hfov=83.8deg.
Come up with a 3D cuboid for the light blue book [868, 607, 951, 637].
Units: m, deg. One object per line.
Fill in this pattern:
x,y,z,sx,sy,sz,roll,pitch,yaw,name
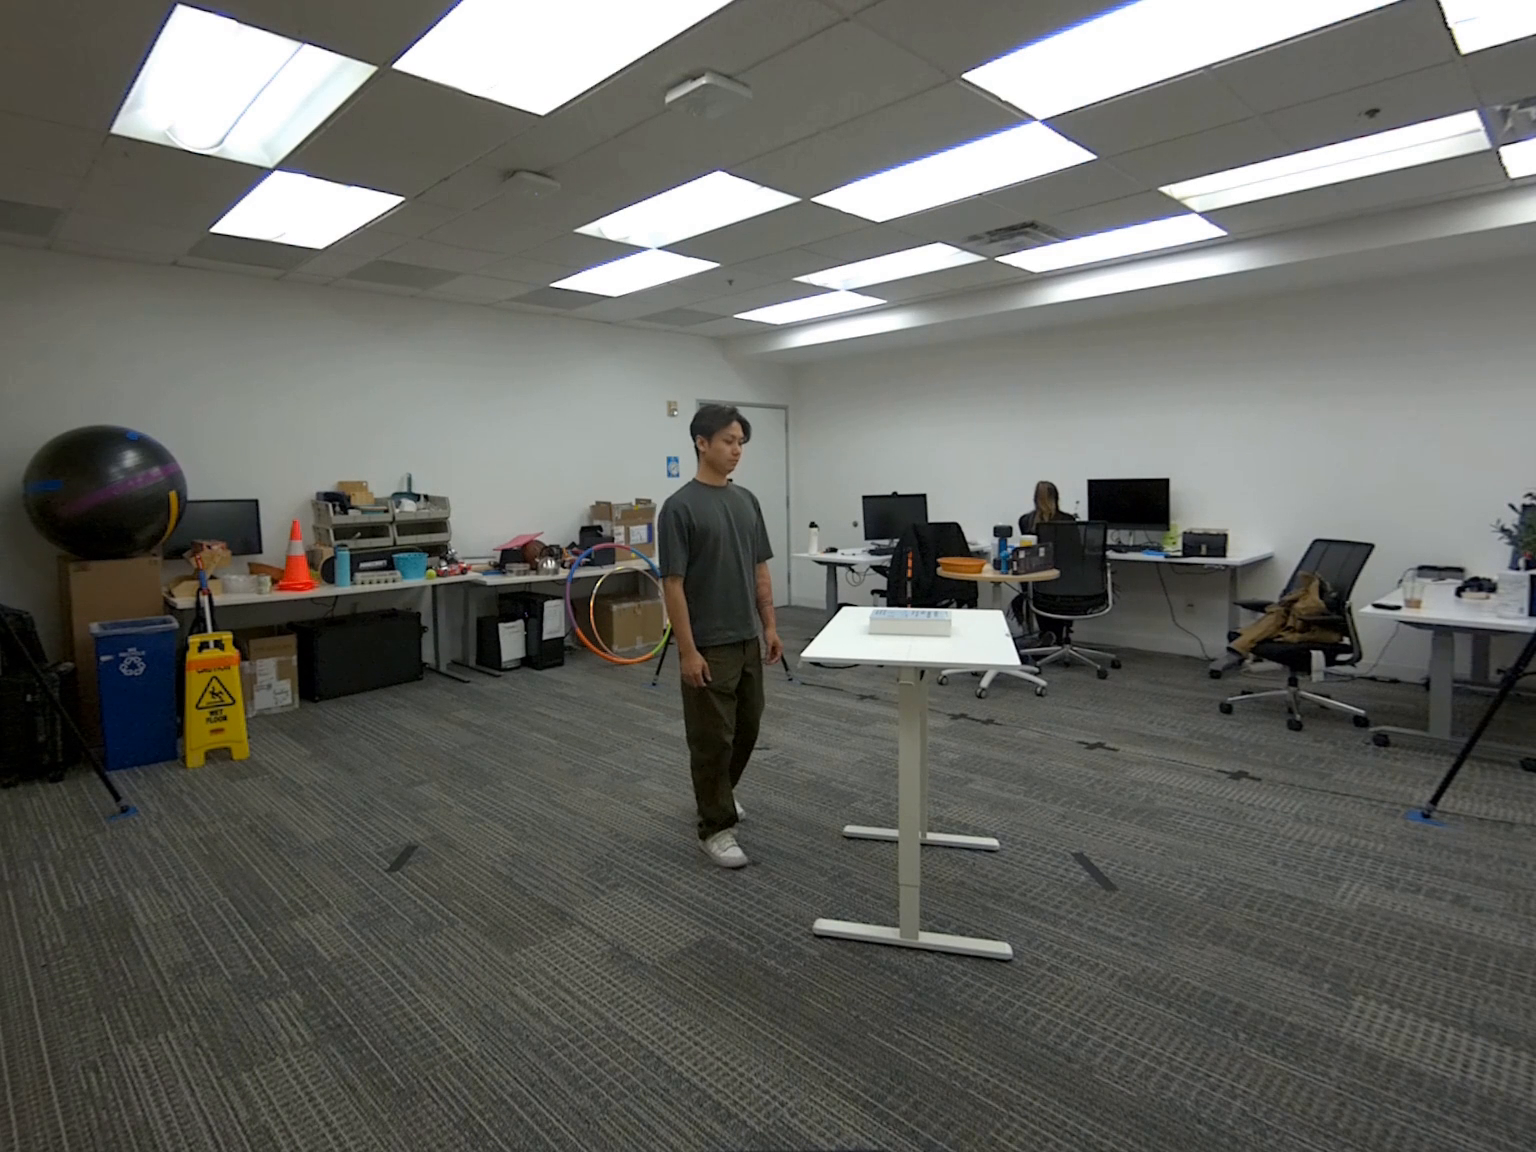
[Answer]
0.487,0.156,2.845,0.264,0.059,0.190,0,6,12,light blue book
